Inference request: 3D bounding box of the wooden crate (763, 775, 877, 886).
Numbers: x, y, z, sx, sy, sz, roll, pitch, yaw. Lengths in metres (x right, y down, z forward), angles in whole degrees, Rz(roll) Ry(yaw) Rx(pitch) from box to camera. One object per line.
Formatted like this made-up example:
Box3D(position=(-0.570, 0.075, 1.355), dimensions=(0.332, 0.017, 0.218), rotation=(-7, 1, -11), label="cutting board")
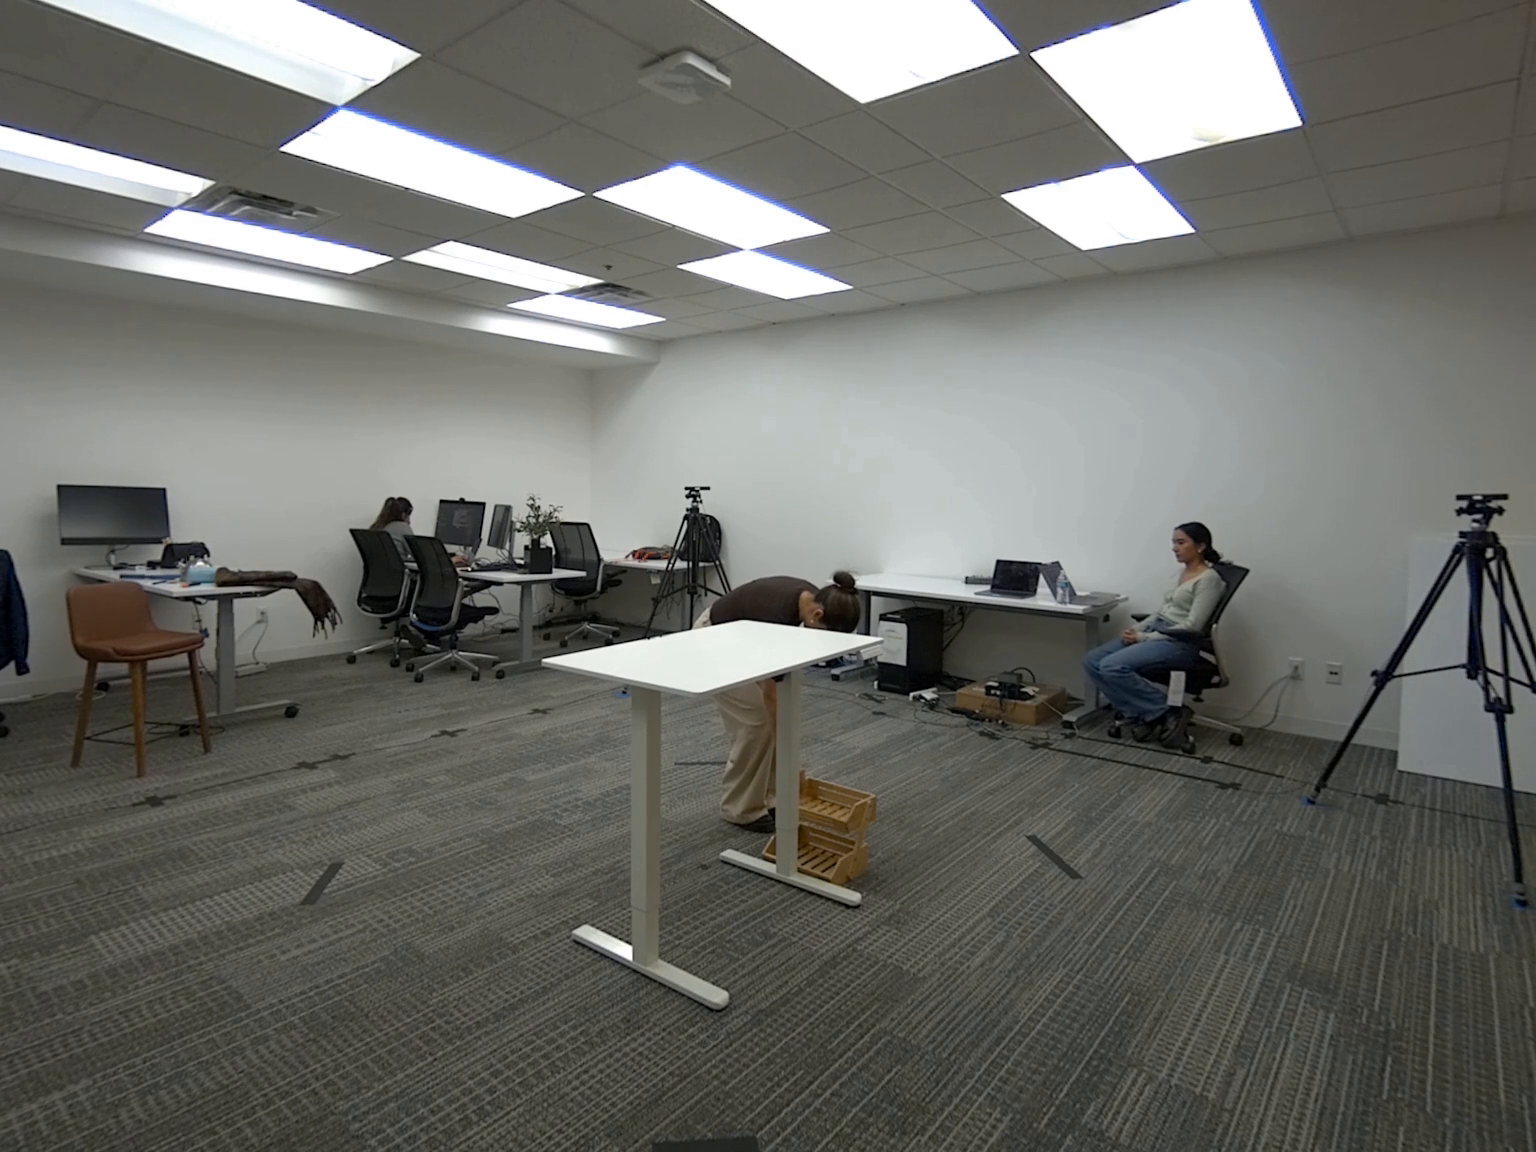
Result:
Box3D(position=(0.185, 0.935, 3.145), dimensions=(0.335, 0.272, 0.293), rotation=(5, 5, 38), label="wooden crate")
